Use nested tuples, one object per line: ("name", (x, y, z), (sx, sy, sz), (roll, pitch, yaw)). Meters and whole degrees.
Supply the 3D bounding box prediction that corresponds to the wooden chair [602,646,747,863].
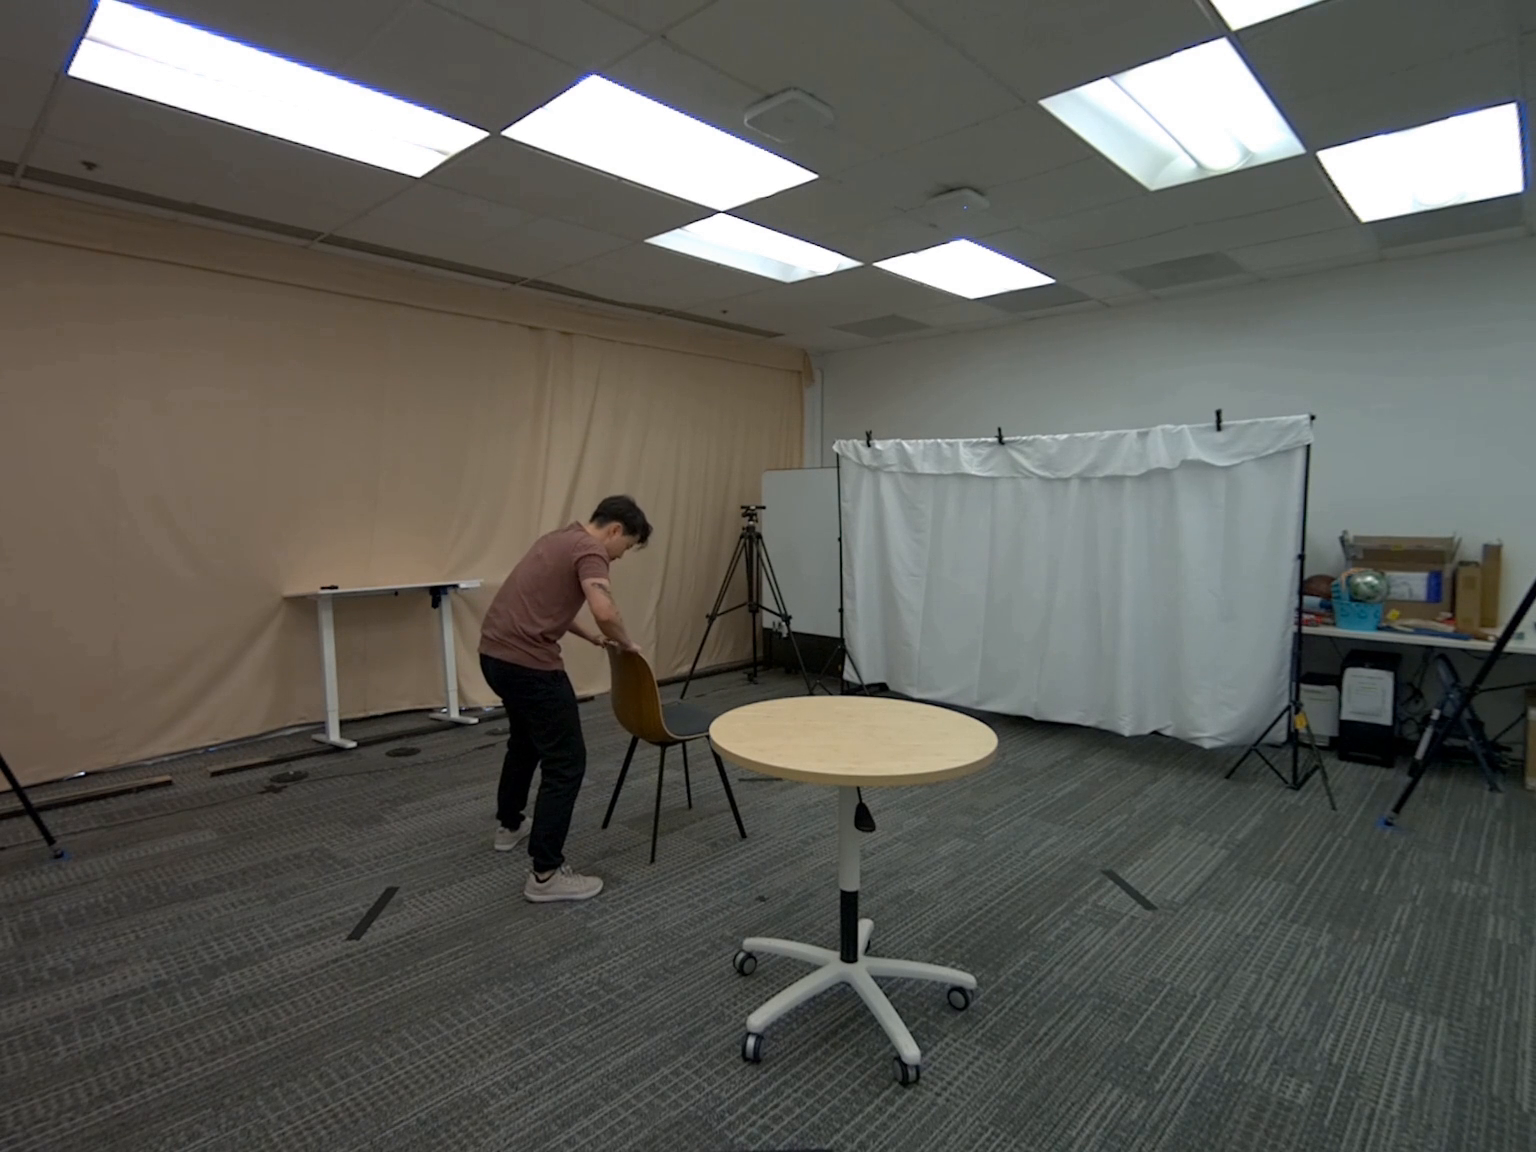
("wooden chair", (-0.401, 0.671, 3.559), (0.509, 0.874, 0.493), (-8, 7, -35))
